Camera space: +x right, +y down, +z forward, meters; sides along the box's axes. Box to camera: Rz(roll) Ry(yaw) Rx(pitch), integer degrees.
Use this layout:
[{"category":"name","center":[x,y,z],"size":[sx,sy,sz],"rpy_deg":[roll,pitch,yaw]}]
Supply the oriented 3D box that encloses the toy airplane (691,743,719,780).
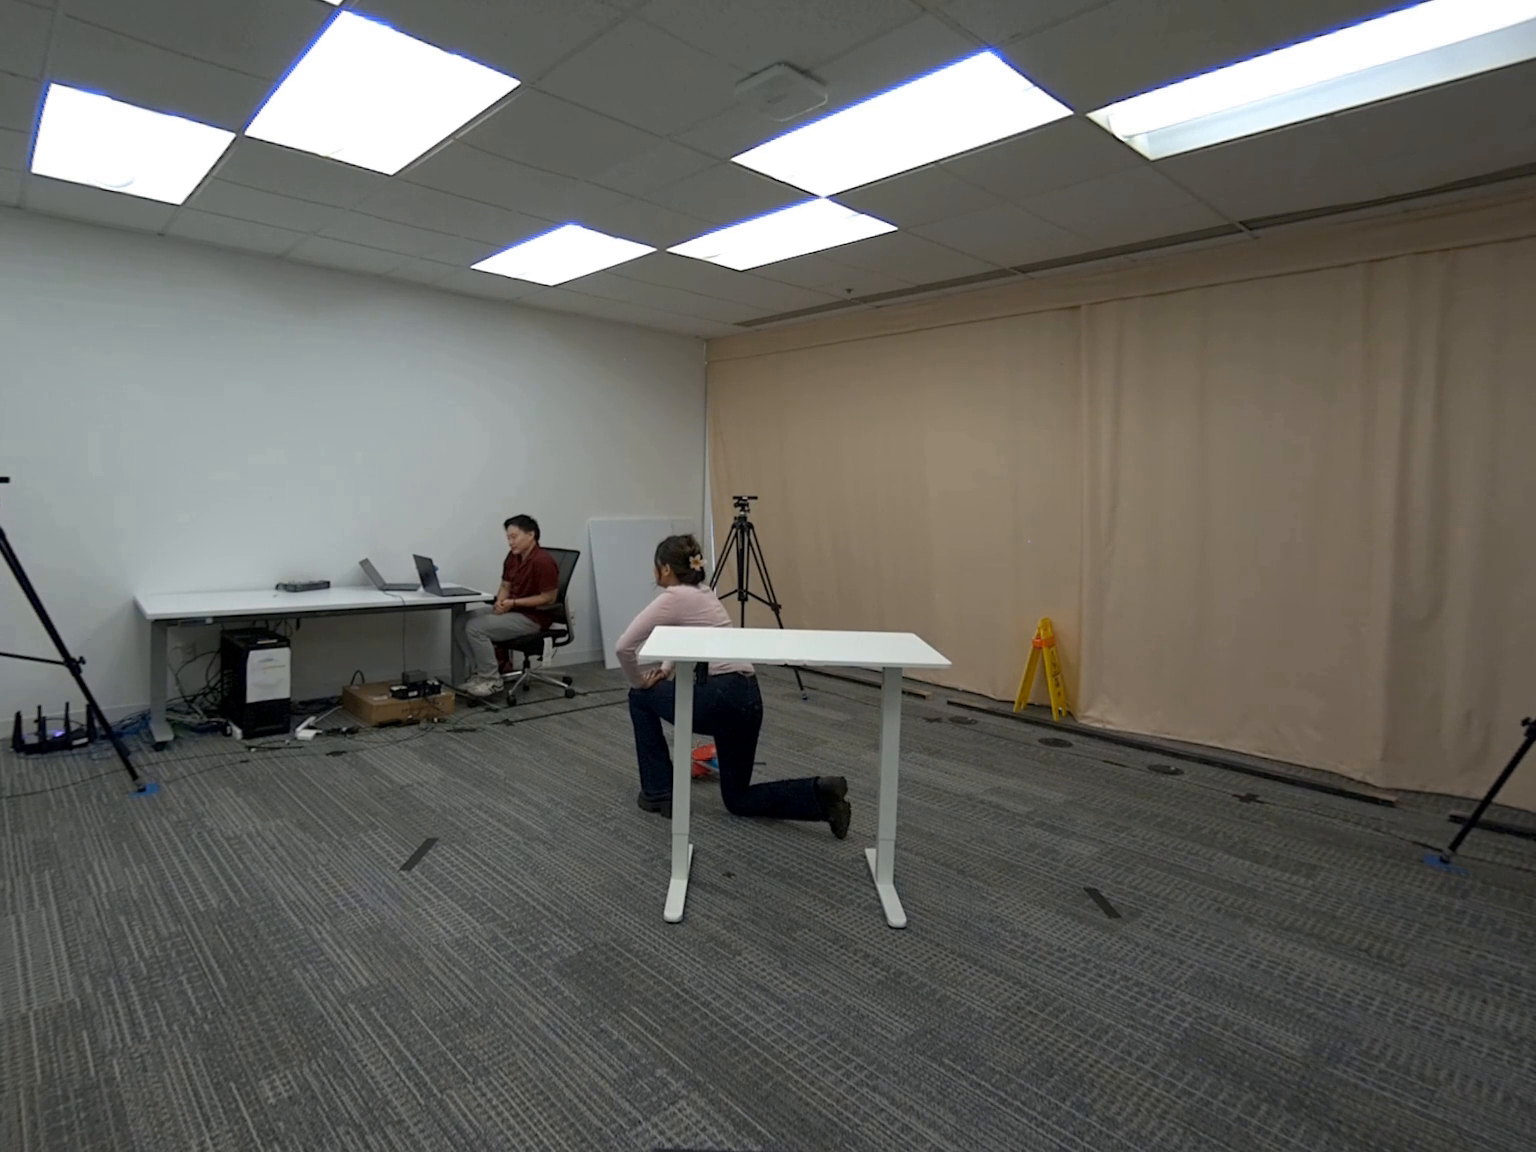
[{"category":"toy airplane","center":[-0.288,0.942,4.204],"size":[0.261,0.156,0.250],"rpy_deg":[1,3,6]}]
